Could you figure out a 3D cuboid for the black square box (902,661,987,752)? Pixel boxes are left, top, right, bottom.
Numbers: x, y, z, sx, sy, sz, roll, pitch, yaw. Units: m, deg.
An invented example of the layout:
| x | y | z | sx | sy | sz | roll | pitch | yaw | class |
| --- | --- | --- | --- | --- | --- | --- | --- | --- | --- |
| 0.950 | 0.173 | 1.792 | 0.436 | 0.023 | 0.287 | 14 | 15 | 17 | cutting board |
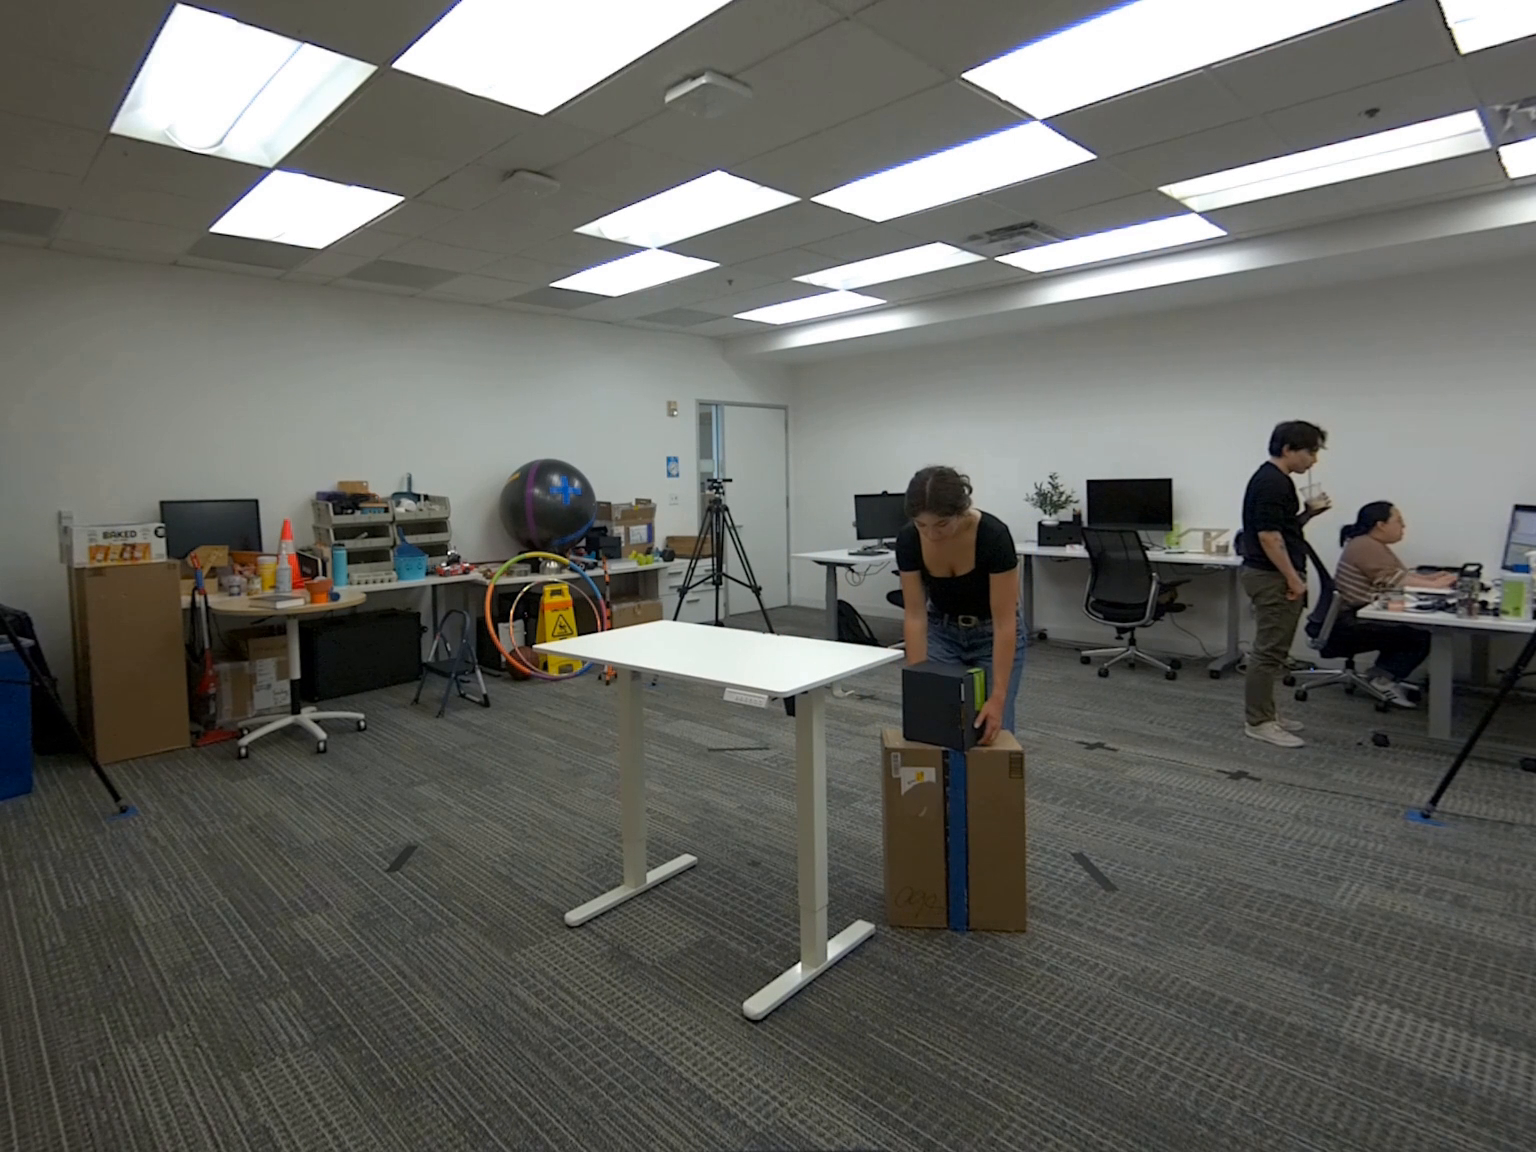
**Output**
| x | y | z | sx | sy | sz | roll | pitch | yaw | class |
| --- | --- | --- | --- | --- | --- | --- | --- | --- | --- |
| 0.554 | 0.401 | 2.678 | 0.152 | 0.227 | 0.223 | -5 | 6 | -43 | black square box |
